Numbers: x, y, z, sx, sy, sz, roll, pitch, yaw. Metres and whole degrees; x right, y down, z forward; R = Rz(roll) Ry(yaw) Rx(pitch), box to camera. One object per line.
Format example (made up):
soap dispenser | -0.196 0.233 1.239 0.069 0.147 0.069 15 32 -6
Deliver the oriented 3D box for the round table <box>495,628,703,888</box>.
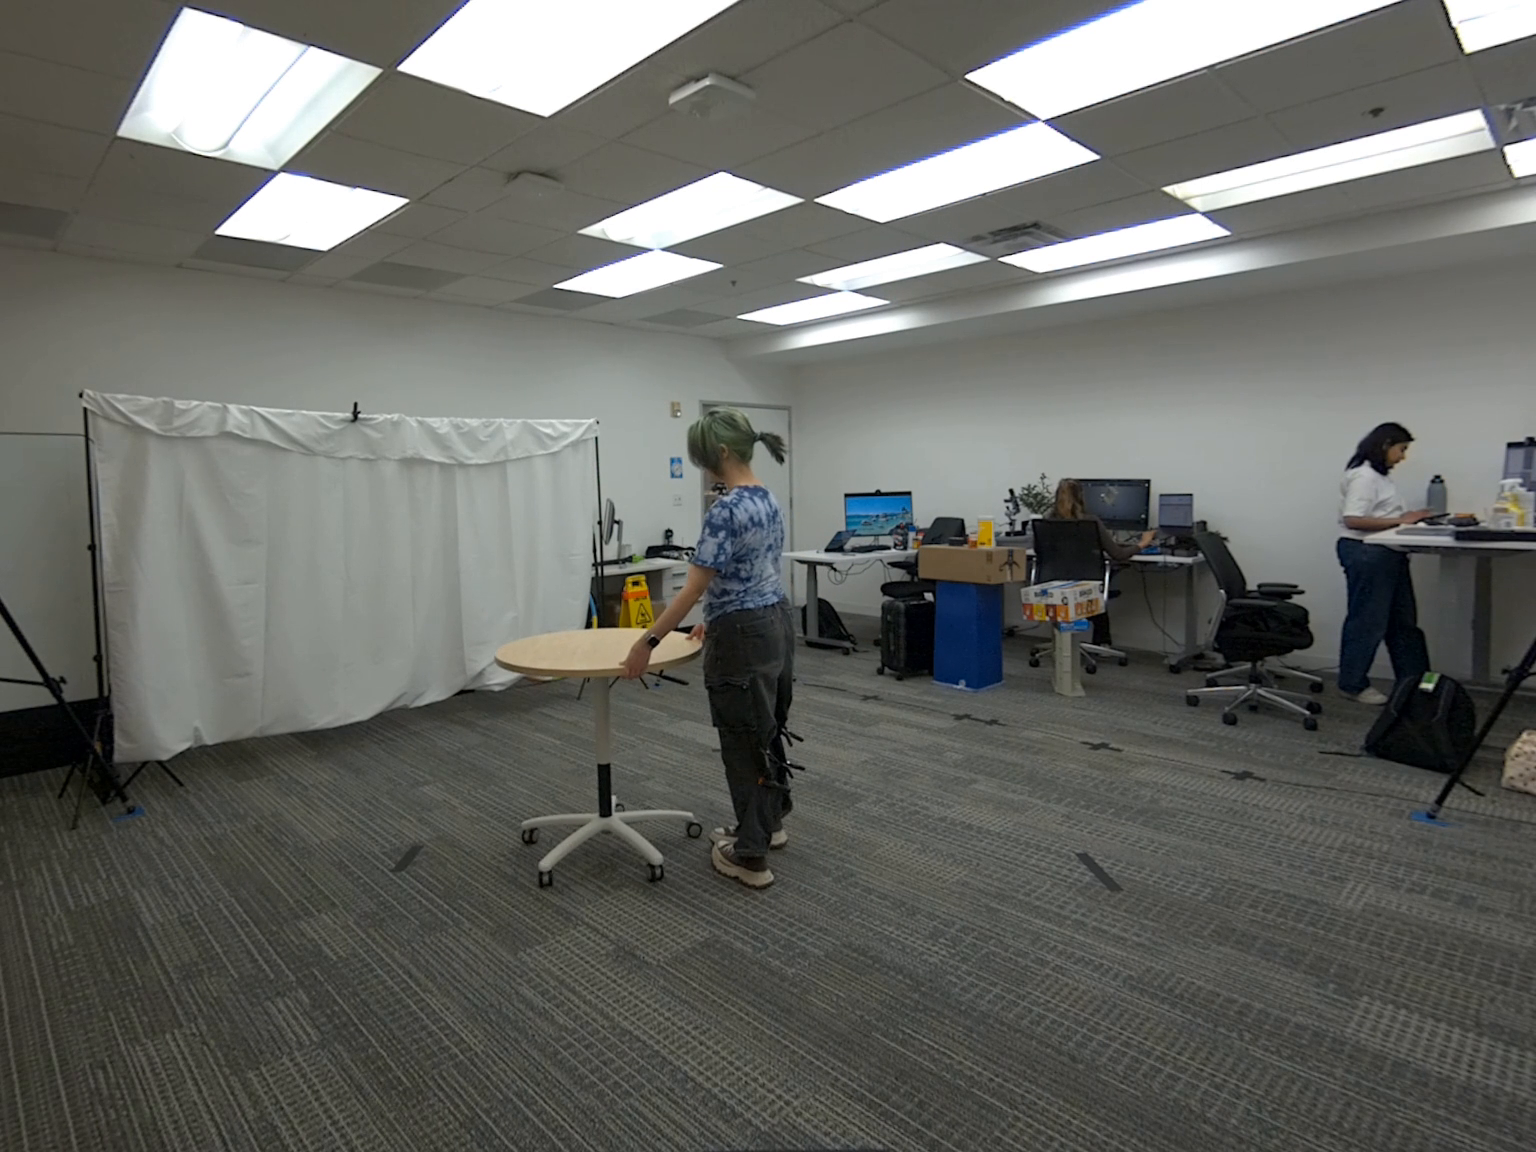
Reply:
round table | -0.610 0.656 3.207 0.763 0.790 0.768 -1 5 -2
